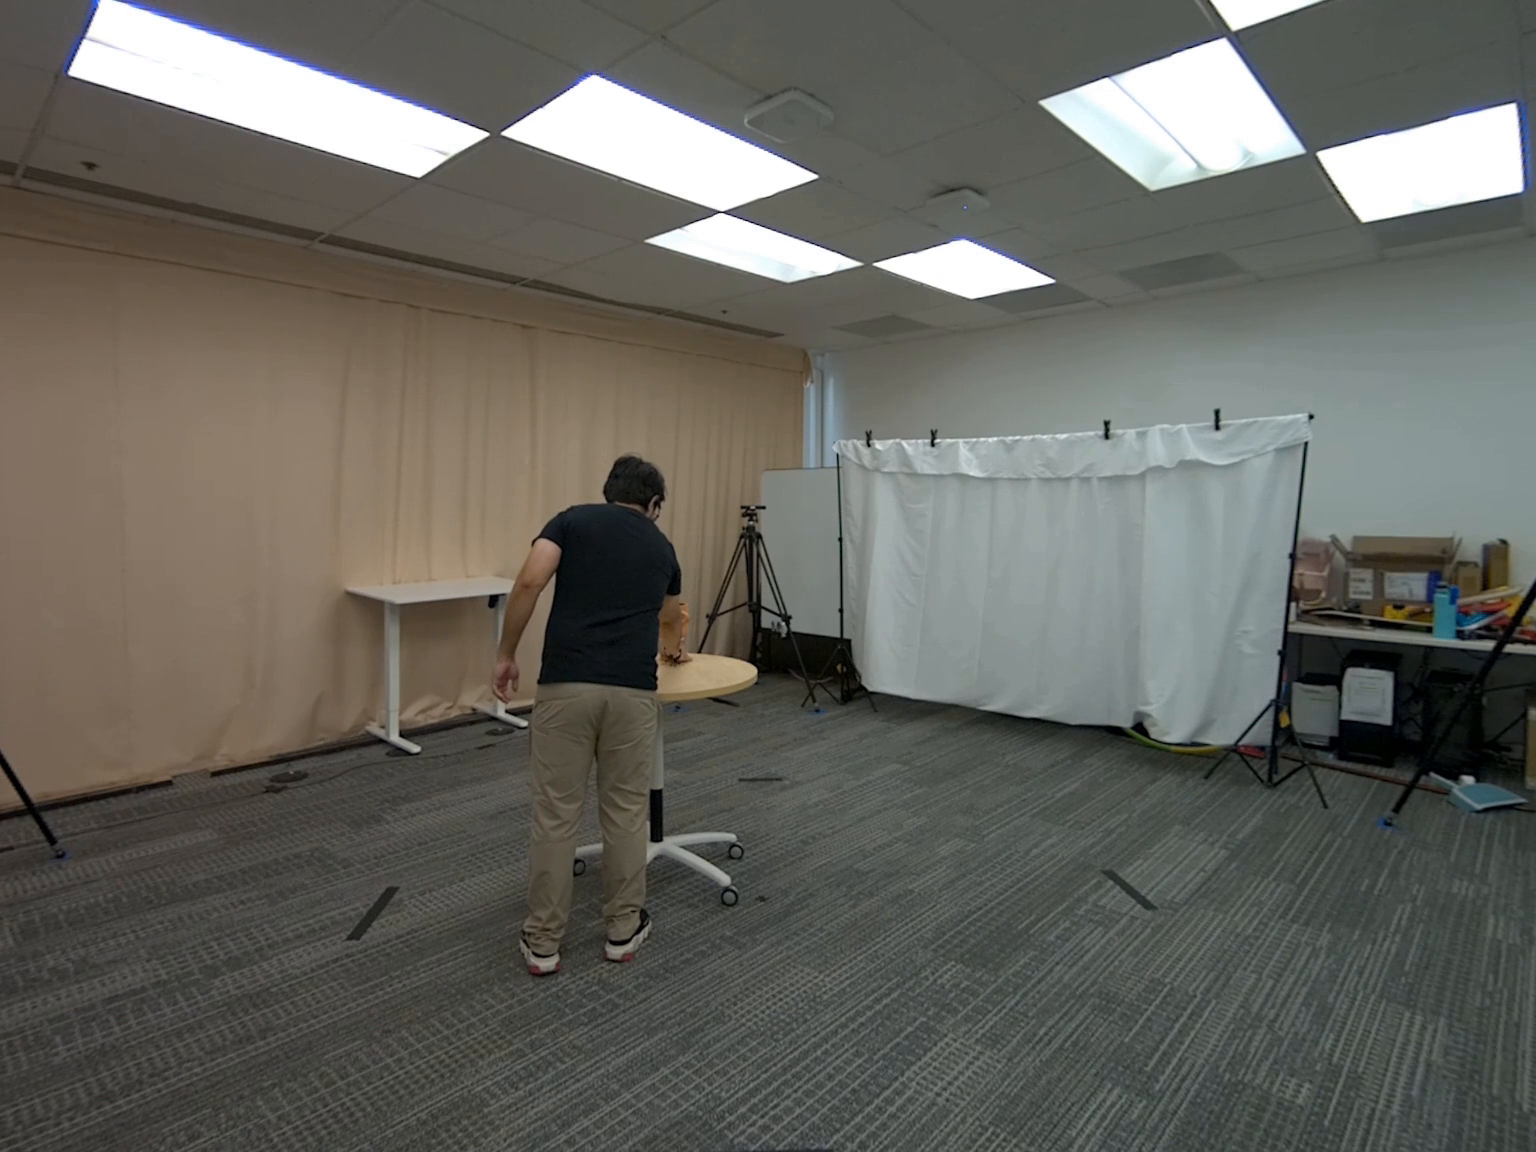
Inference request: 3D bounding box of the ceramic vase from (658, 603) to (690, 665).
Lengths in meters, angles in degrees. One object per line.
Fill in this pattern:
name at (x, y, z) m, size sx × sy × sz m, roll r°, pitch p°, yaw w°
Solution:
ceramic vase at (-0.379, 0.224, 3.356) m, size 0.133 × 0.219 × 0.160 m, roll -1°, pitch 3°, yaw -9°
